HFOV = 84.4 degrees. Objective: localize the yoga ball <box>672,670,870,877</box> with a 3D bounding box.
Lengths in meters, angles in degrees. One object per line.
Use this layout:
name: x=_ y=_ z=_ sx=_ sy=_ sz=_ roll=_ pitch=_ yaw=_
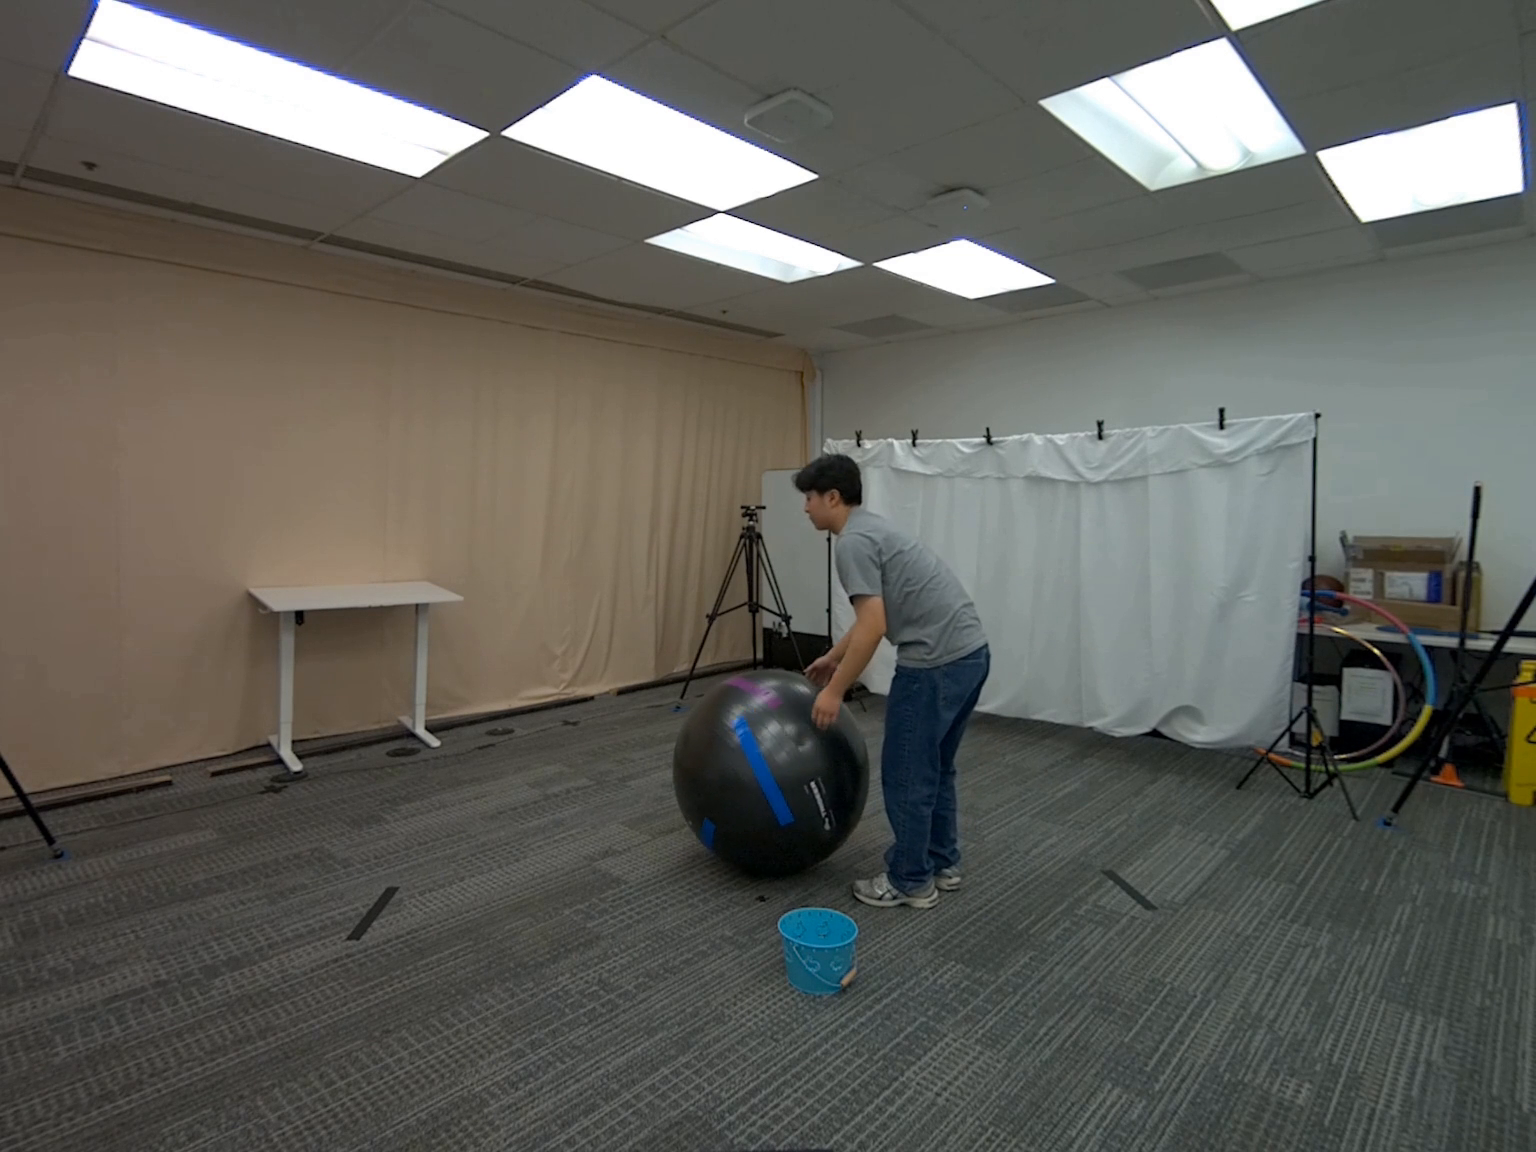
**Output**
yoga ball: x=0.011 y=0.748 z=3.258 sx=0.757 sy=0.756 sz=0.760 roll=0 pitch=4 yaw=-2
